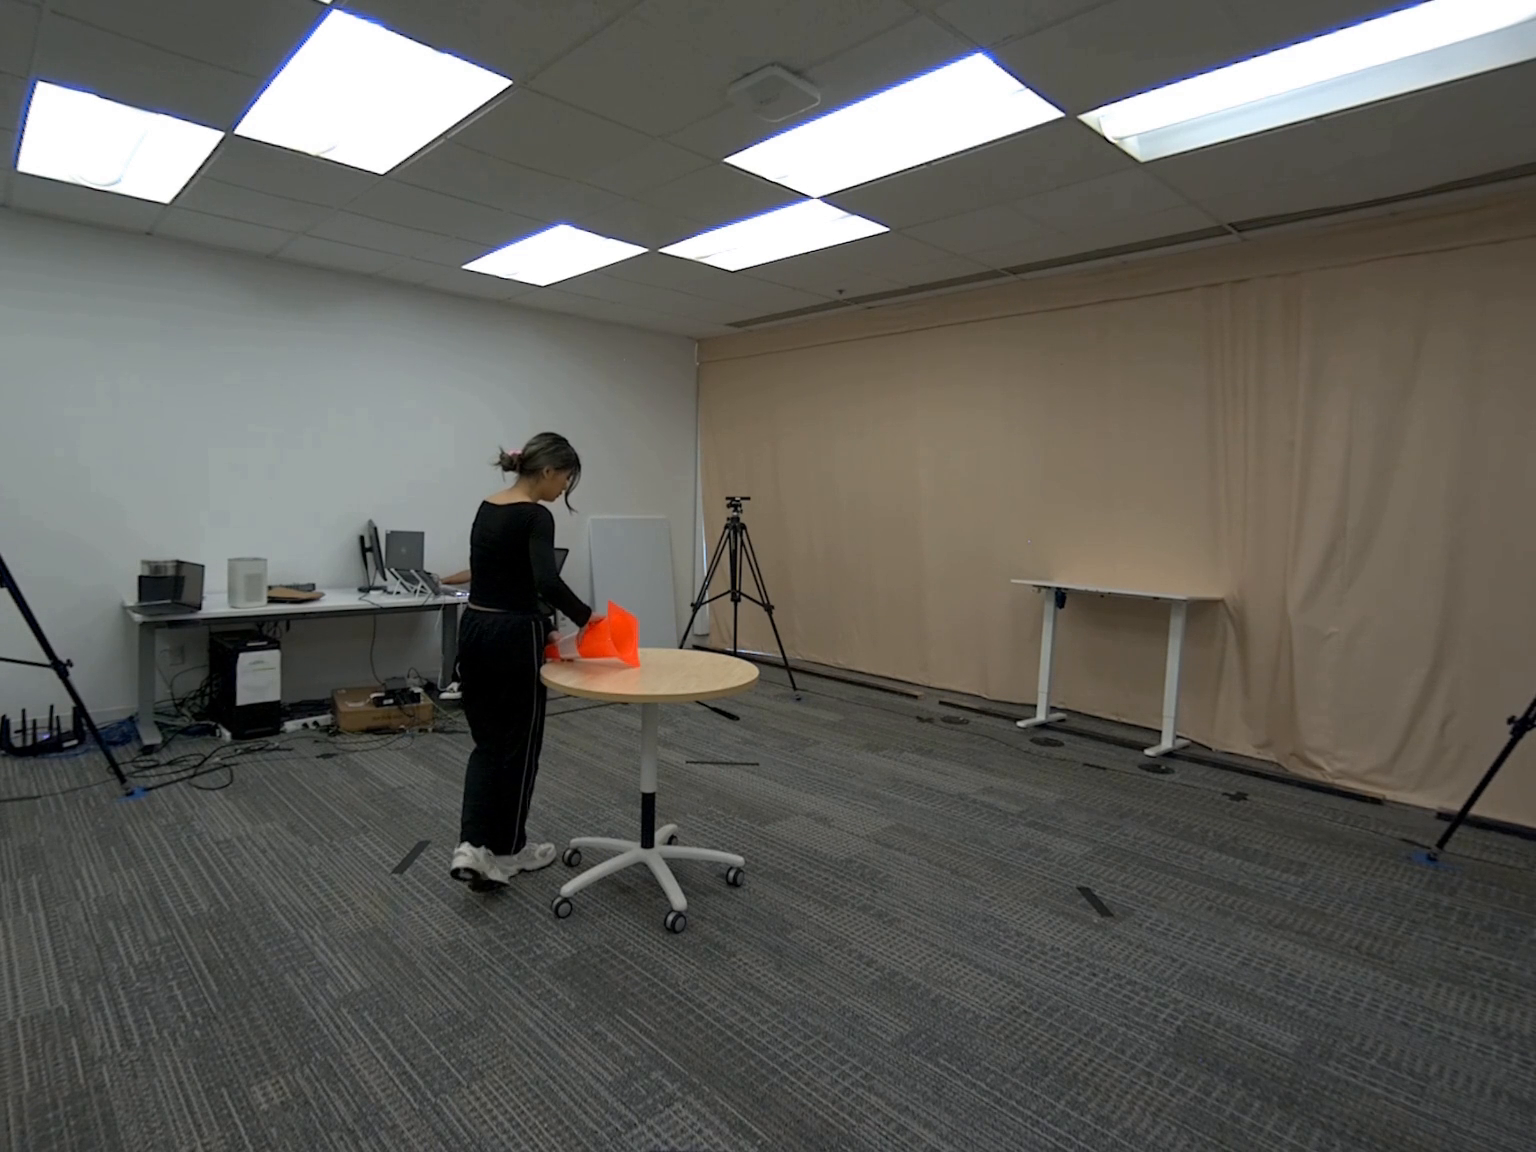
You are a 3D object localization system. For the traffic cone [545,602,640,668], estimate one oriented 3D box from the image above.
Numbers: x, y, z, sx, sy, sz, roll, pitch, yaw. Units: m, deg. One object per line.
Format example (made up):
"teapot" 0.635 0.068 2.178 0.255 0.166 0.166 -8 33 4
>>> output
"traffic cone" -0.692 0.246 3.038 0.388 0.209 0.197 -13 -29 20
